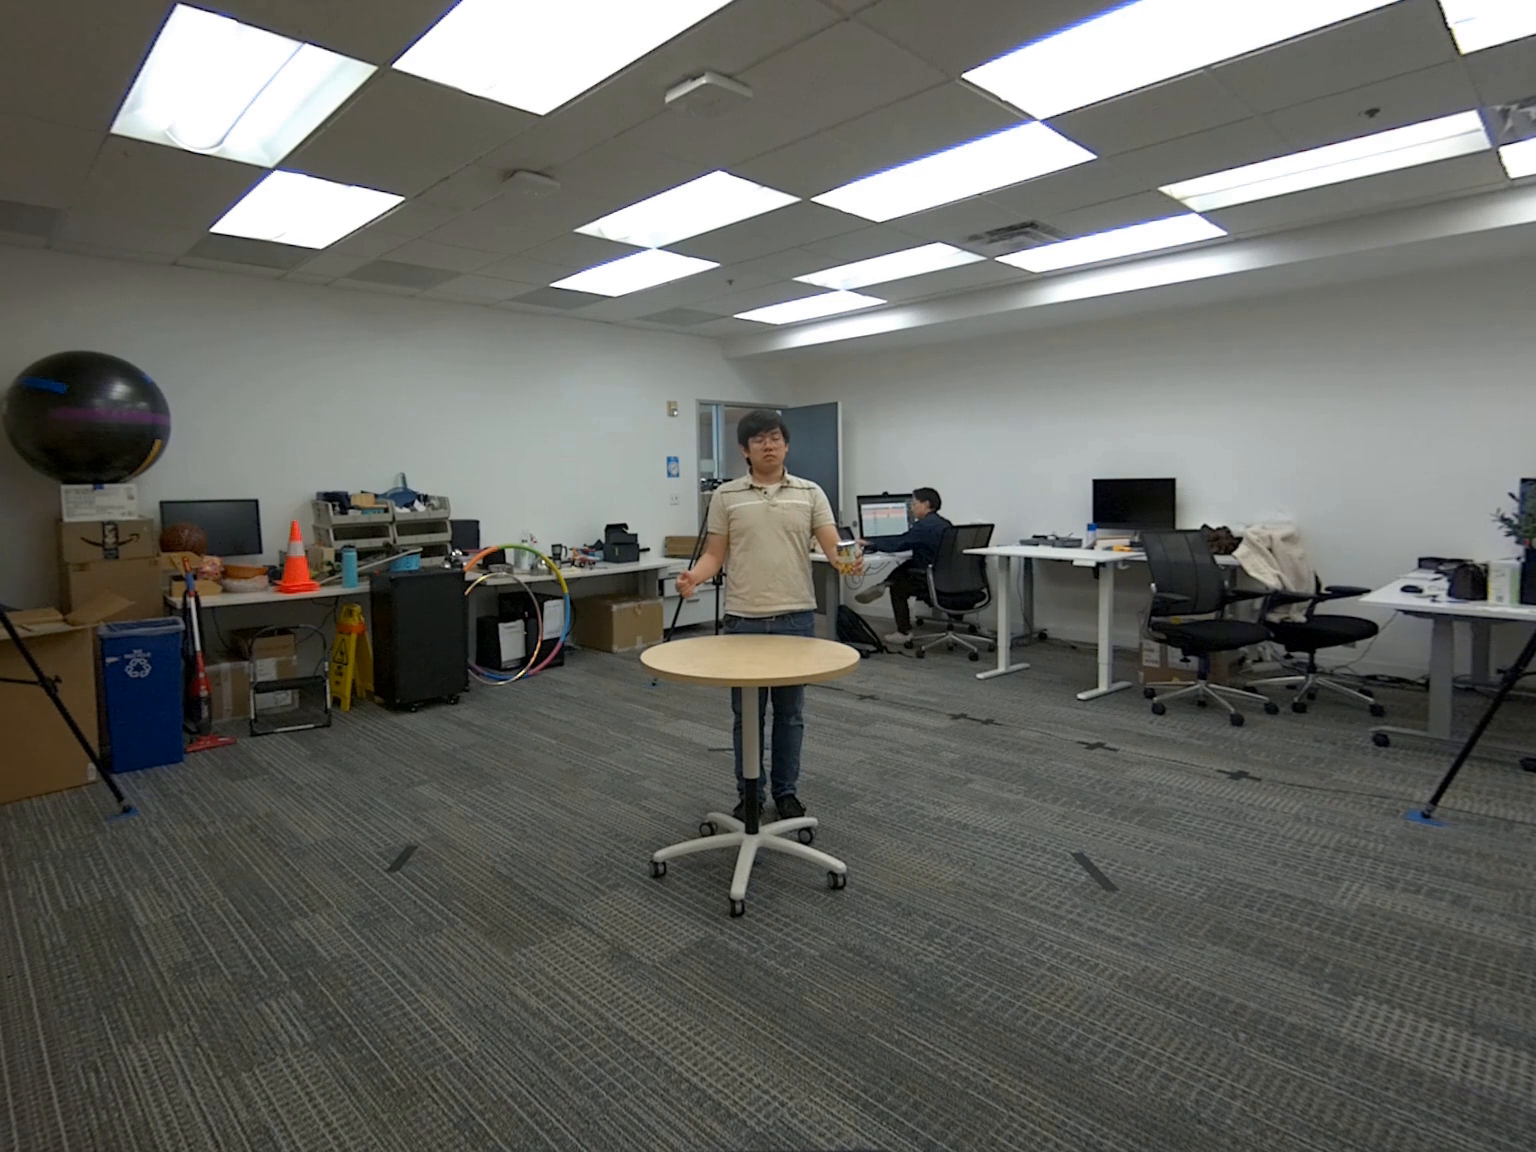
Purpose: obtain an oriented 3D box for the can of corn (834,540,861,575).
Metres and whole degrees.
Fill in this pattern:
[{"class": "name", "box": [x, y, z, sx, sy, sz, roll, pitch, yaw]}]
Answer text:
[{"class": "can of corn", "box": [0.274, -0.070, 3.105, 0.074, 0.110, 0.075, -8, 11, 0]}]
